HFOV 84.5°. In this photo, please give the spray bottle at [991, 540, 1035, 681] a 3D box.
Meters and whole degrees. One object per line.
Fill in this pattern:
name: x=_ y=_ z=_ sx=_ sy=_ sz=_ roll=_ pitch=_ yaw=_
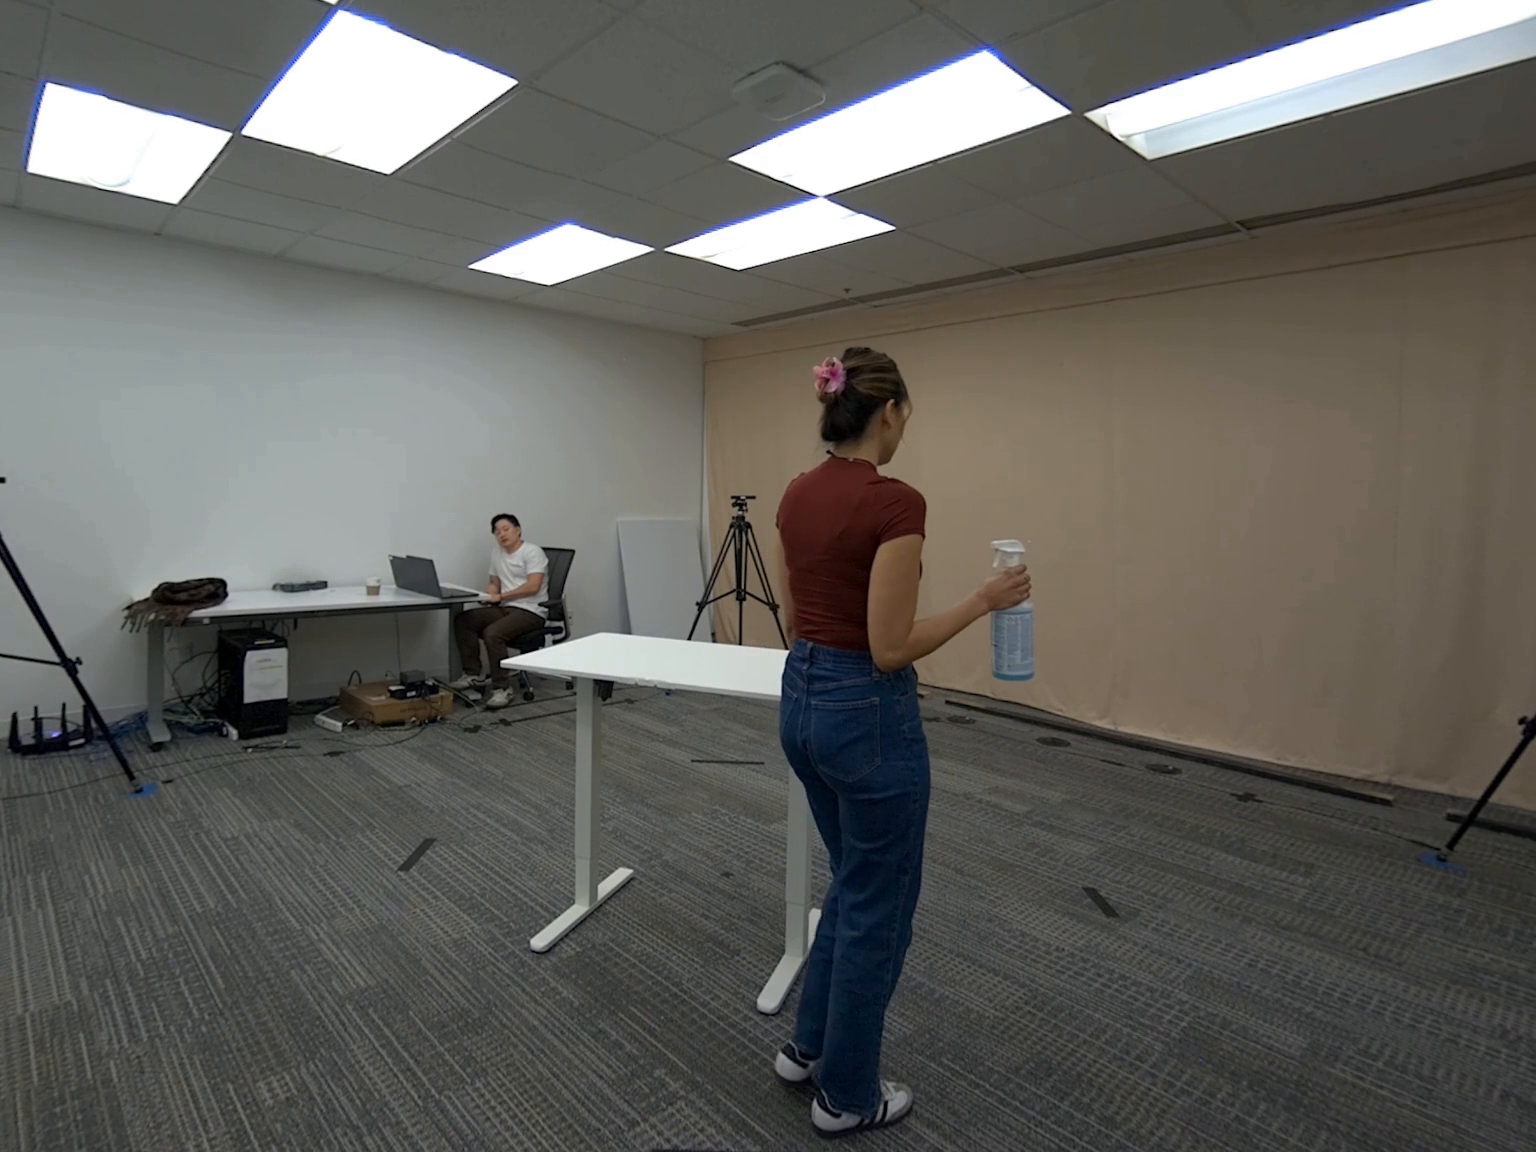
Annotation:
spray bottle: x=0.509 y=0.073 z=1.770 sx=0.090 sy=0.296 sz=0.087 roll=-4 pitch=5 yaw=-3
